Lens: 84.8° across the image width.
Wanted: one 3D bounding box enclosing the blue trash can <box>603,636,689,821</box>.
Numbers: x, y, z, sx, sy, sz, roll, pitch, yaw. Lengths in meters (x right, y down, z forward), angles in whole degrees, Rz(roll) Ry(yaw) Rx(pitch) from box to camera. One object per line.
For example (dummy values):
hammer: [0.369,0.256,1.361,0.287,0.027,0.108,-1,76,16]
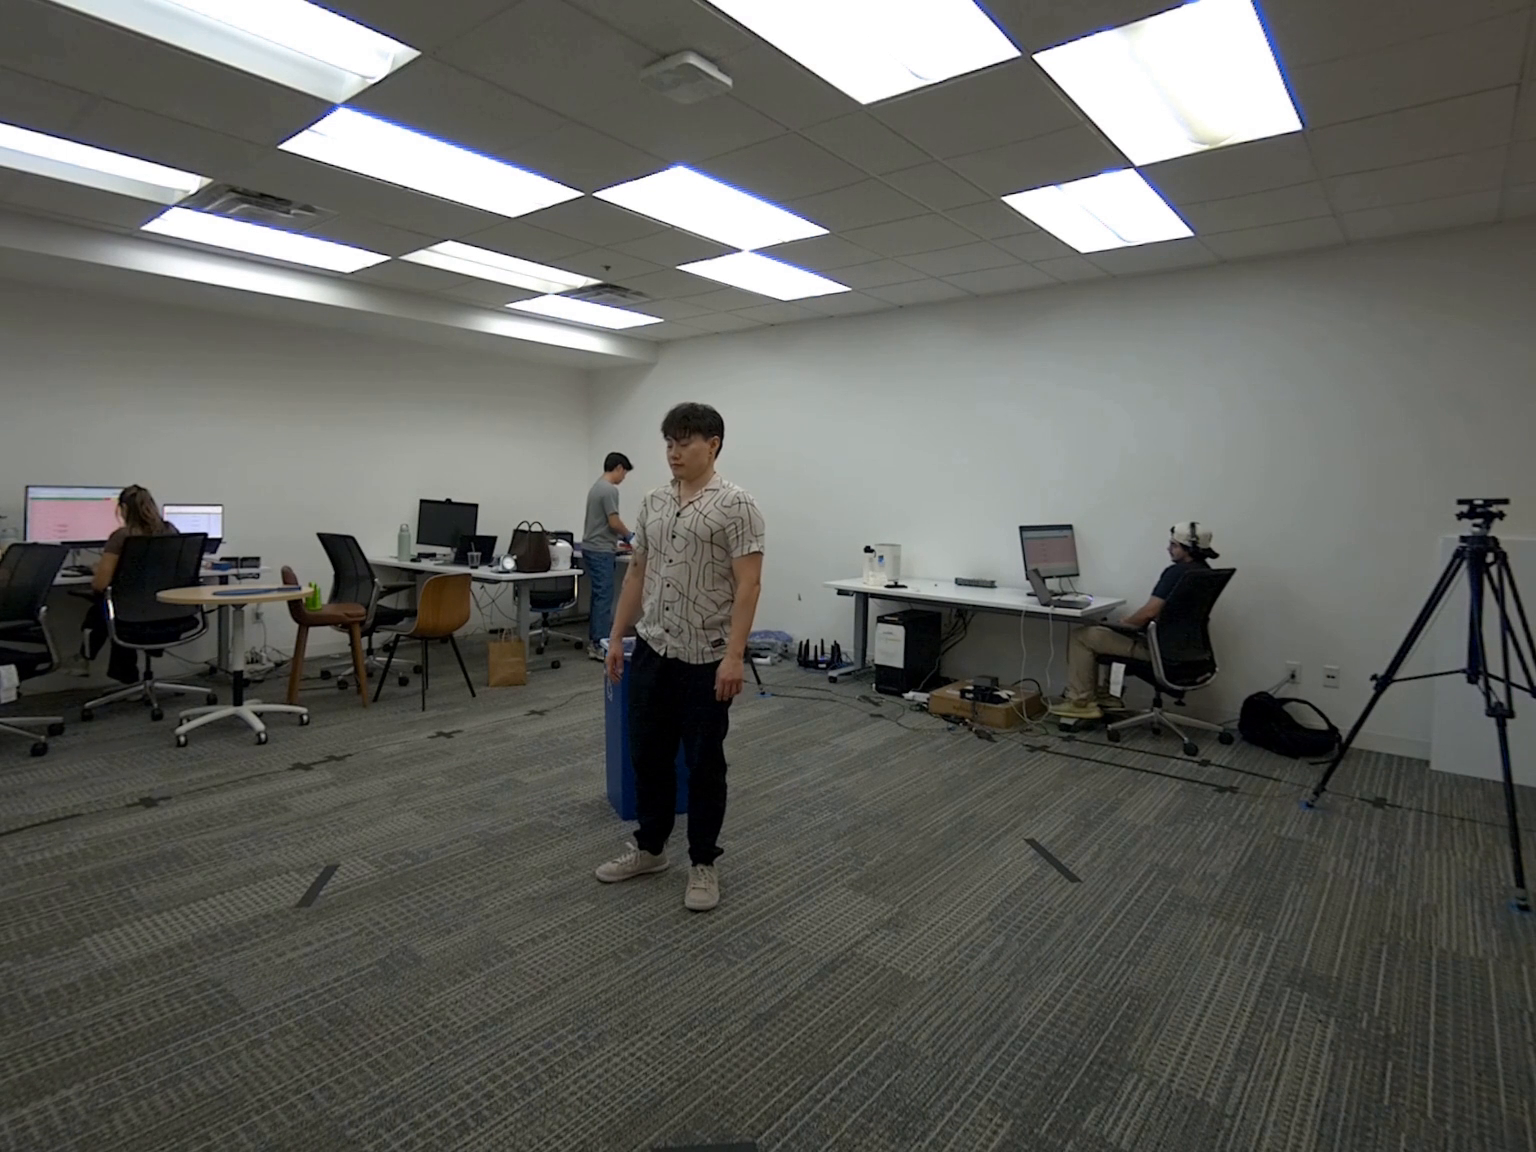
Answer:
blue trash can: [-0.525,0.647,3.713,0.370,0.712,0.383,-1,3,-23]
